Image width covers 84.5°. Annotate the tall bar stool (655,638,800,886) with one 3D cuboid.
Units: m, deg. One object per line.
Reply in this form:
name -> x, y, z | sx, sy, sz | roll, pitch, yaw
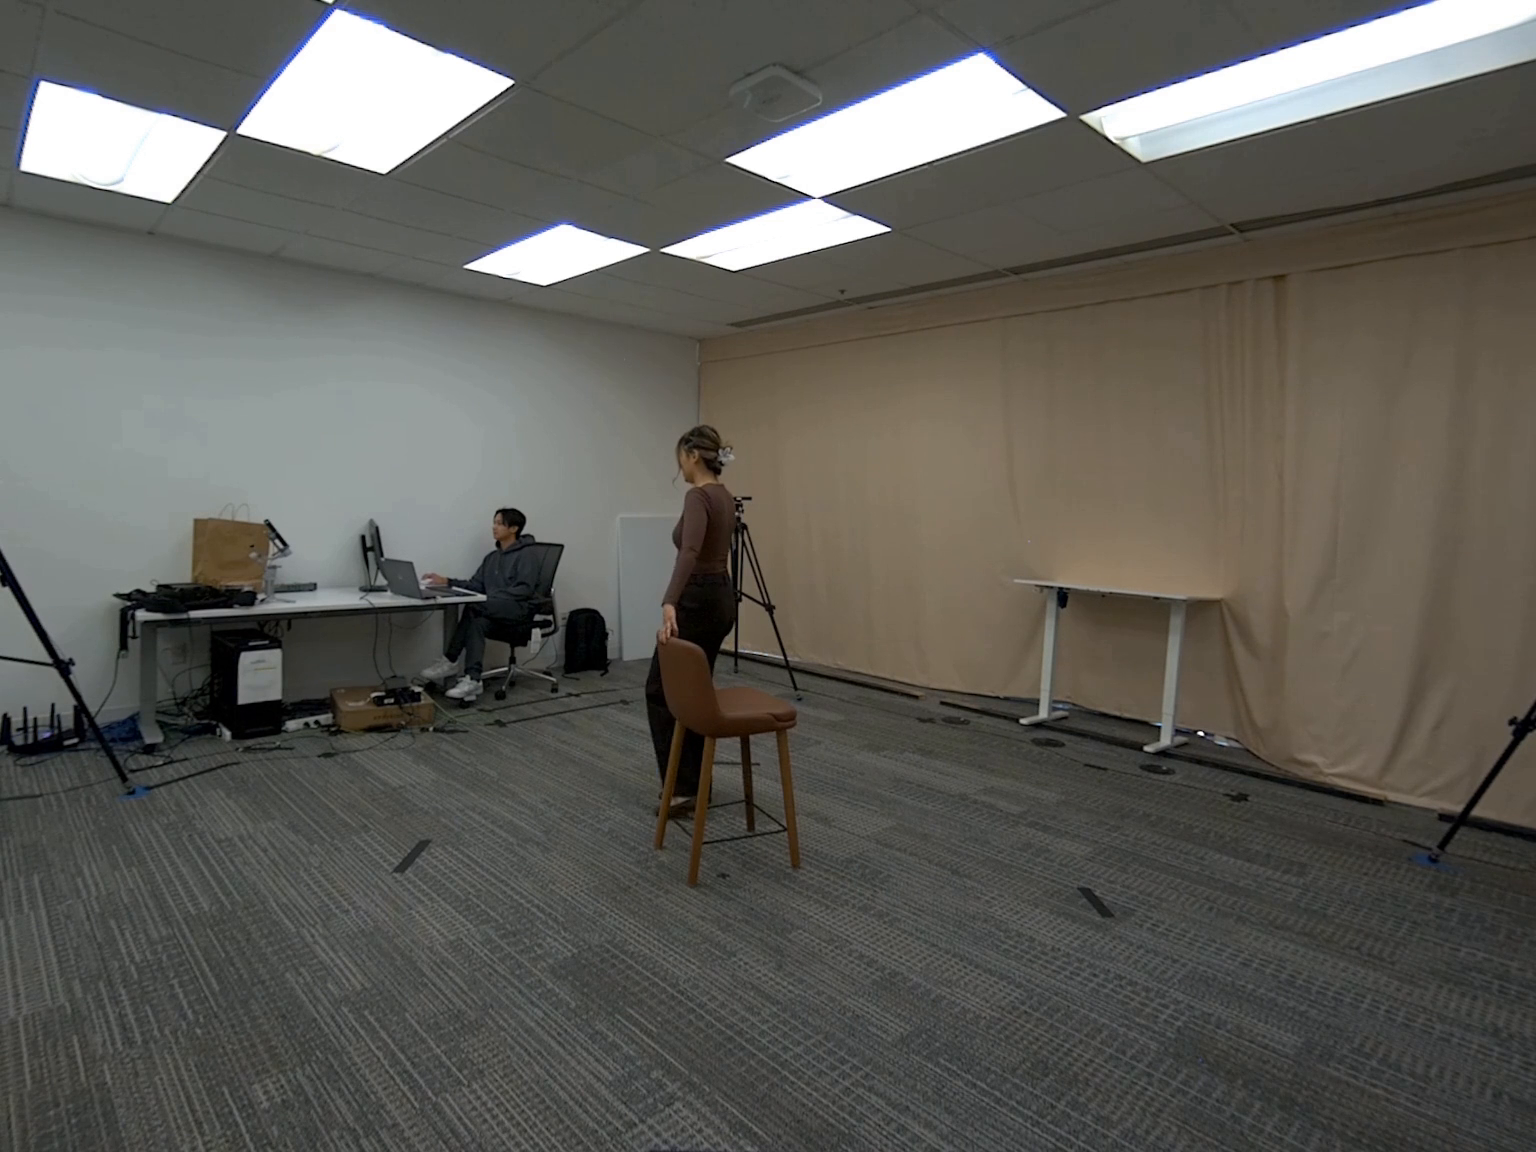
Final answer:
tall bar stool -> -0.168, 0.659, 3.242 | 0.459, 0.887, 0.466 | -2, 4, -27
